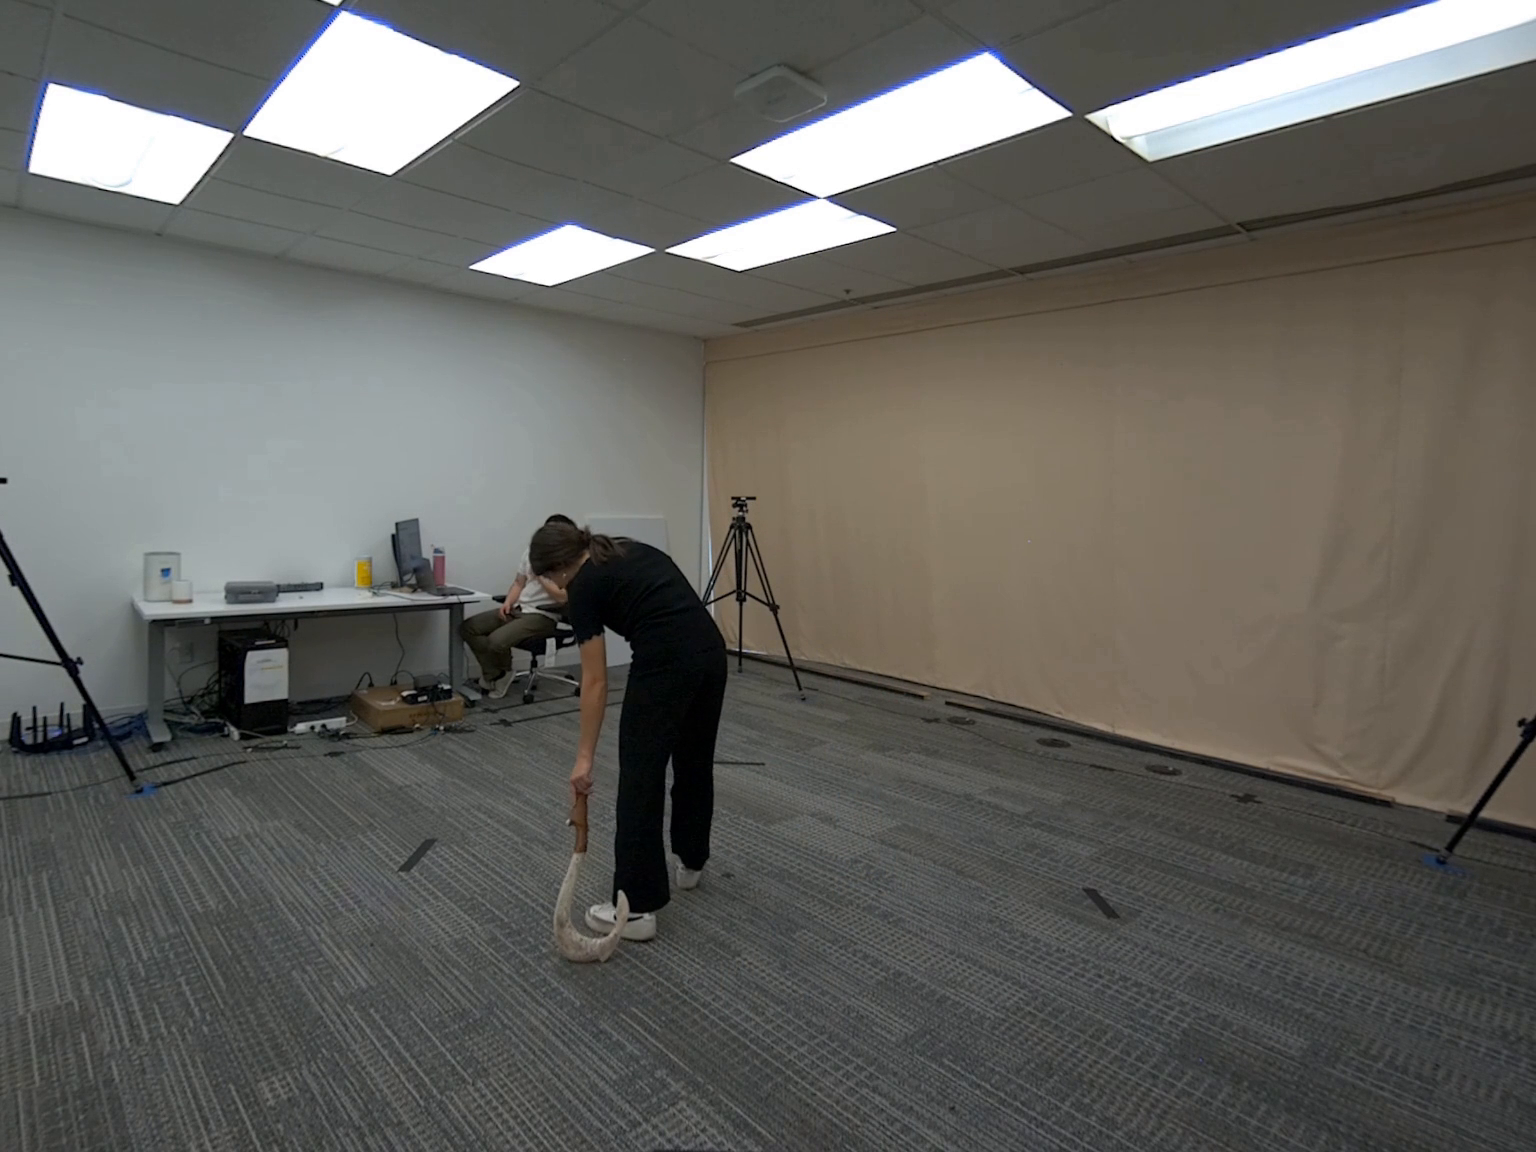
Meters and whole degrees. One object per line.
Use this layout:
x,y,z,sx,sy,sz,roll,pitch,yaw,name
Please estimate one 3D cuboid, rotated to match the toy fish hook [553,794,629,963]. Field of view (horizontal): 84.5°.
-0.534,0.914,2.593,0.224,0.514,0.048,0,-20,-5,toy fish hook
